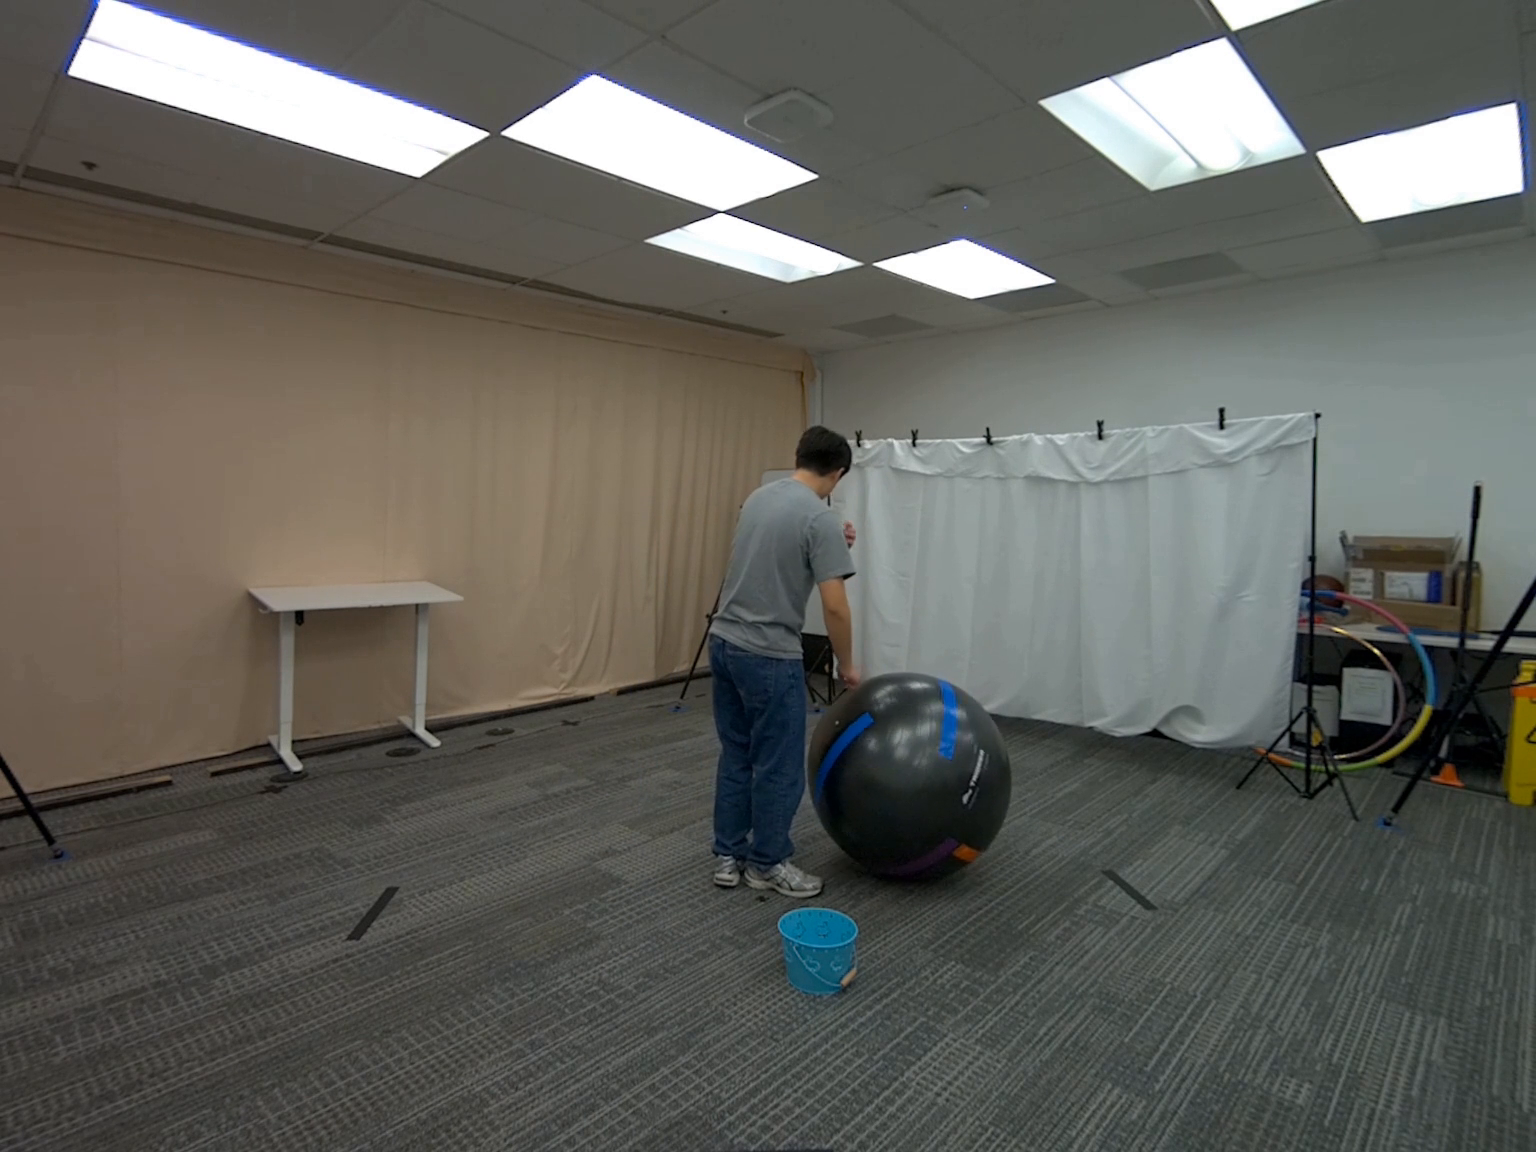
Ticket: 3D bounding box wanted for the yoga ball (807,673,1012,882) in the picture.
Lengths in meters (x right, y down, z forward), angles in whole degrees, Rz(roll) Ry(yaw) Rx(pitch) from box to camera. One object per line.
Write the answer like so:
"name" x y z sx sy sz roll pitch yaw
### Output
"yoga ball" 0.539 0.753 3.204 0.757 0.756 0.760 0 4 -2
